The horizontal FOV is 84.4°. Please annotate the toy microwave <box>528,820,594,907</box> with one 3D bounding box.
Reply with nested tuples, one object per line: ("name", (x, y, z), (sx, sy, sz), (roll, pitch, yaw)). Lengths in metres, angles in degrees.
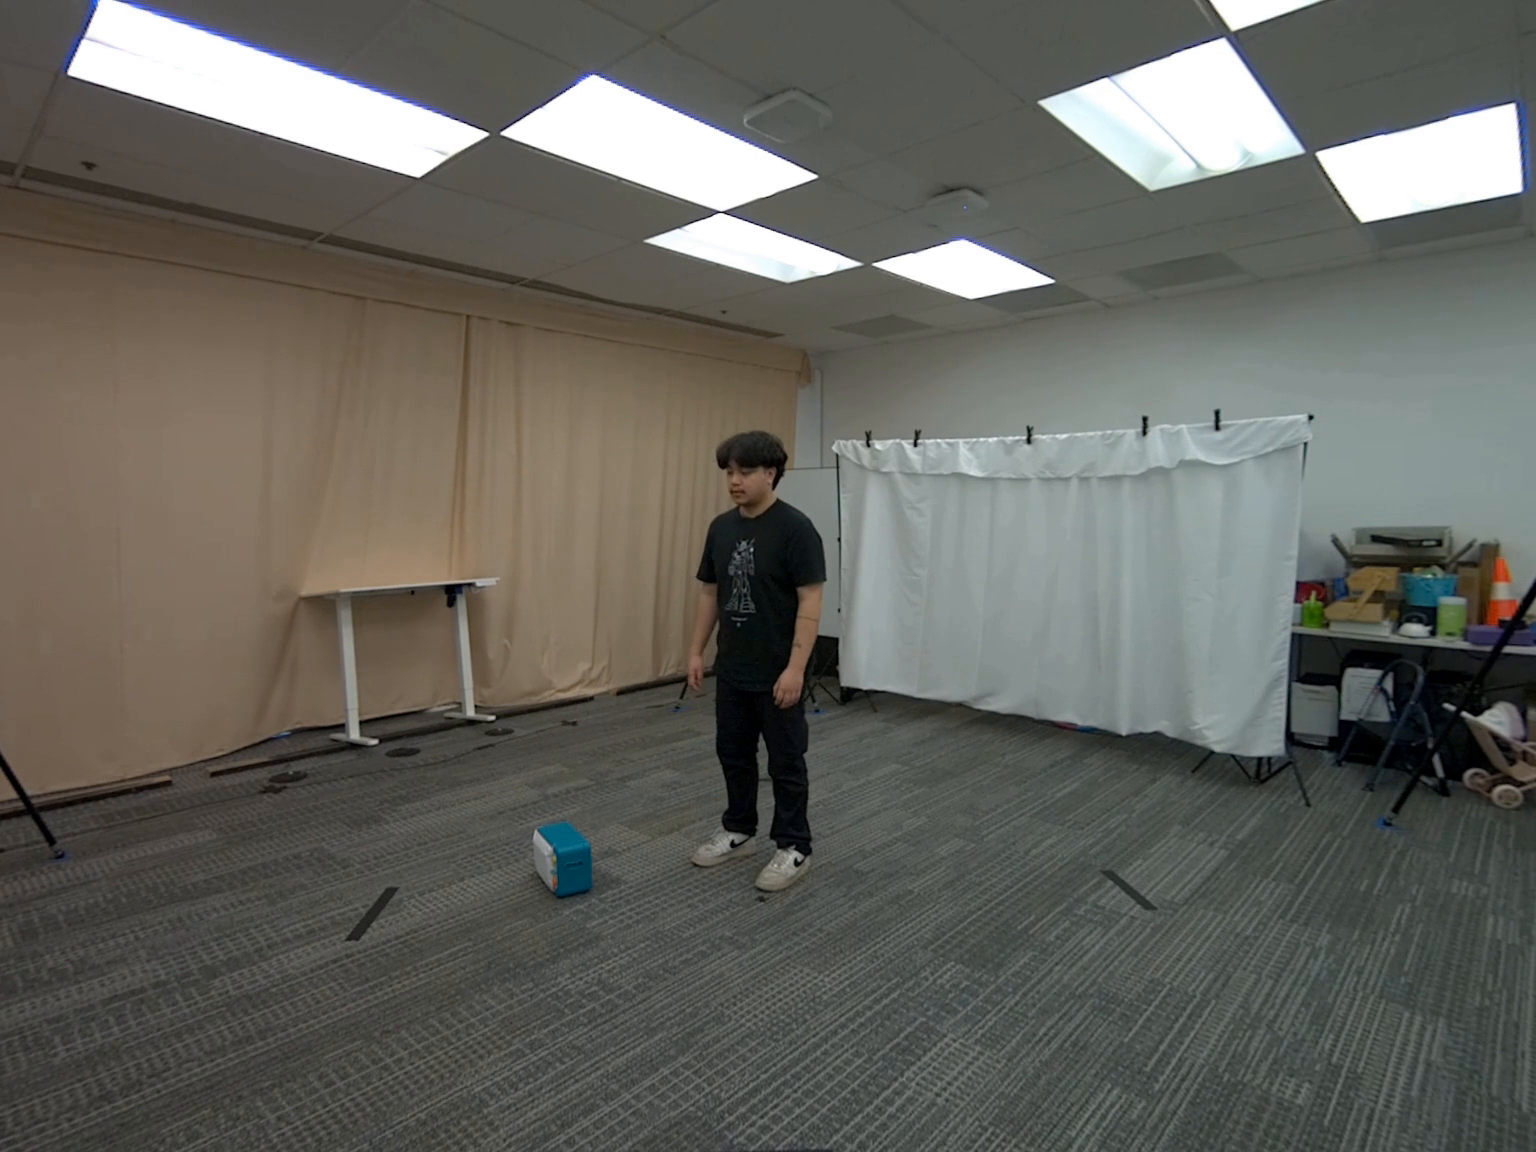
("toy microwave", (-0.770, 1.052, 3.126), (0.148, 0.184, 0.295), (-3, 5, -31))
